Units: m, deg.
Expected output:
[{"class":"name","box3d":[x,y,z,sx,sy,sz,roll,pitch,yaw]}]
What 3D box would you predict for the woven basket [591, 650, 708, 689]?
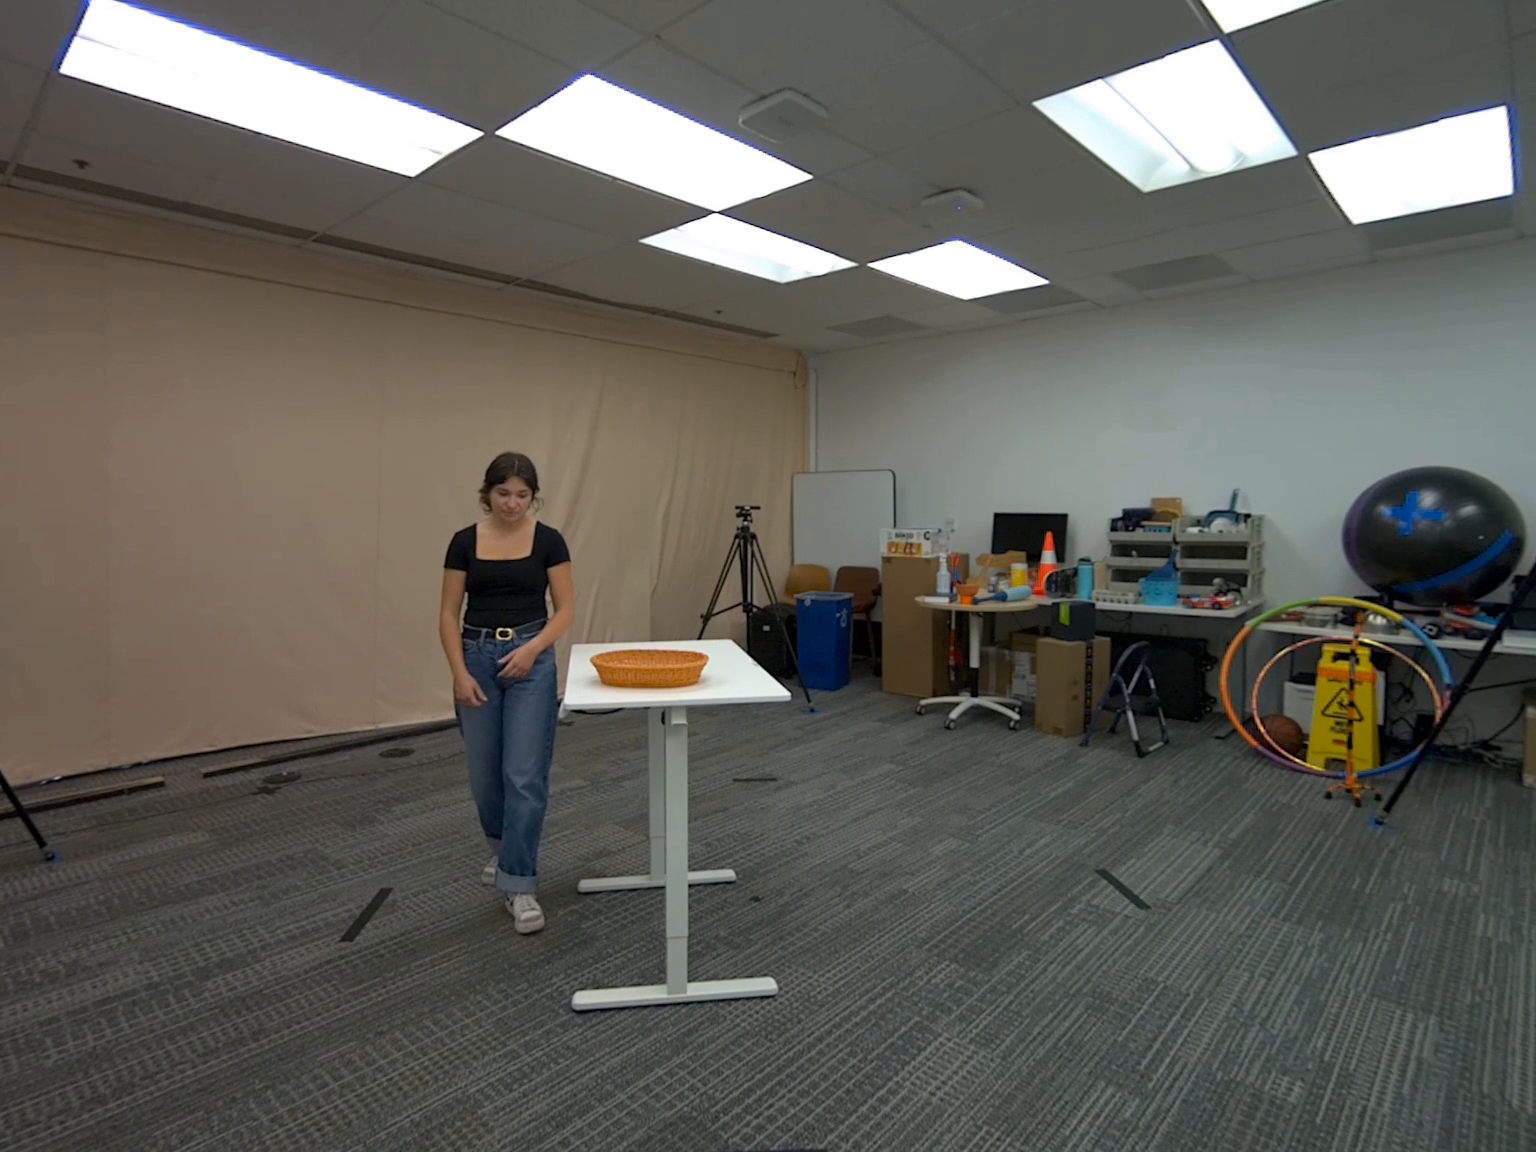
[{"class":"woven basket","box3d":[-0.349,0.280,2.430,0.354,0.073,0.250,0,5,9]}]
